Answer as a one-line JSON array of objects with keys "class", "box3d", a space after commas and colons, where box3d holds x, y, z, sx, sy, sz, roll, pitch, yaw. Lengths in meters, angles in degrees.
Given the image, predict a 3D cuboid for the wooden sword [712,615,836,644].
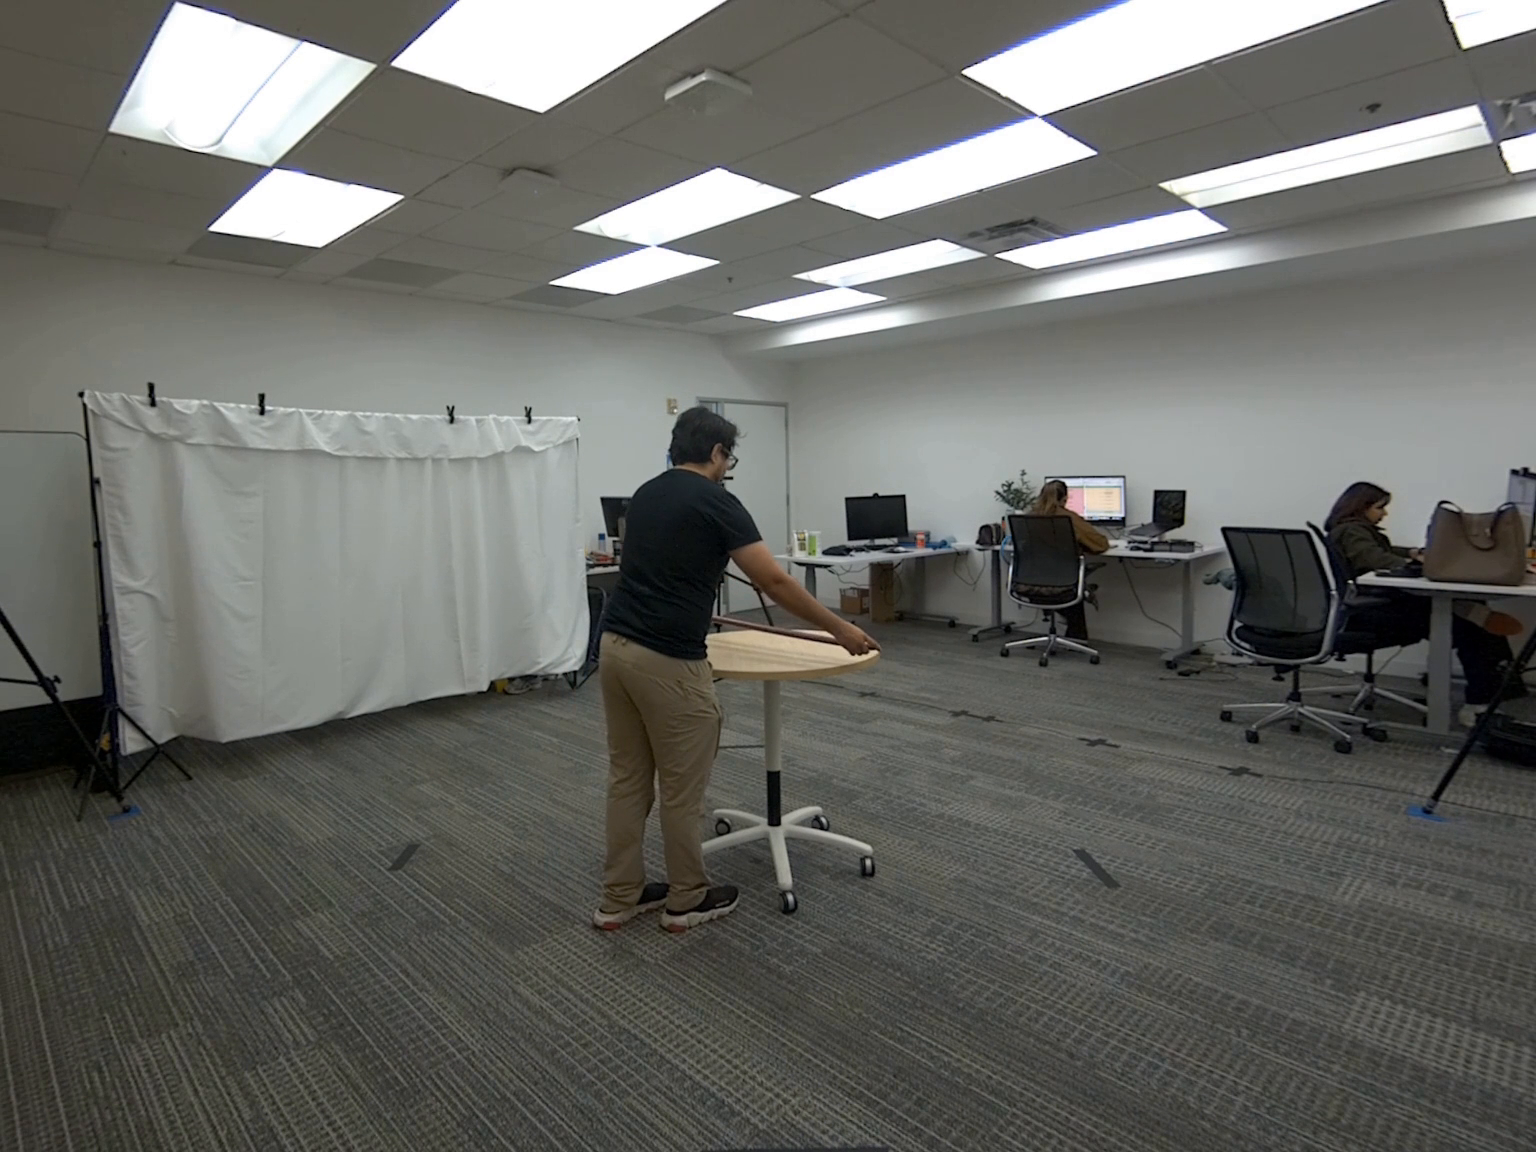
[{"class": "wooden sword", "box3d": [-0.072, 0.192, 3.074, 1.058, 0.051, 0.023, 7, 7, 44]}]
